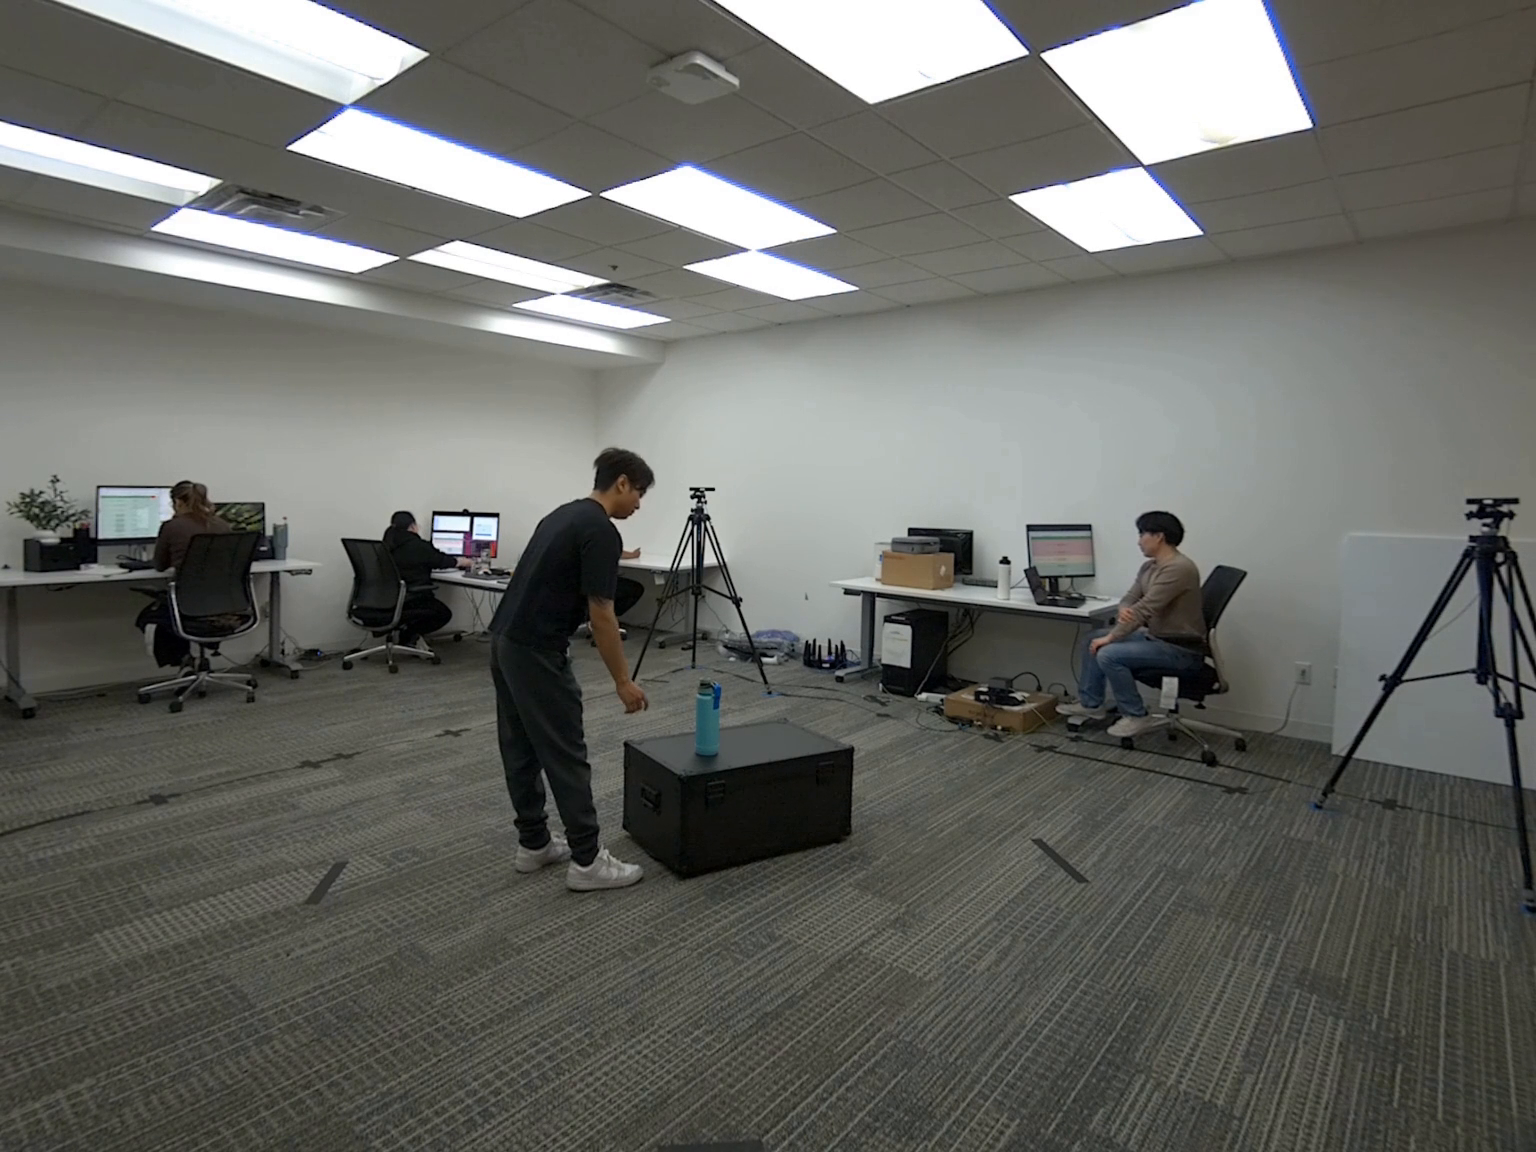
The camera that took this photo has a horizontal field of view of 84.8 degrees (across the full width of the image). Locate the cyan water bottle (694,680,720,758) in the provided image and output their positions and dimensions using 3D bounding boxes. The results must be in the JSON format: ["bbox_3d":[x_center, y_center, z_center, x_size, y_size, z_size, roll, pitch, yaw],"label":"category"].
[{"bbox_3d":[-0.239,0.535,3.268,0.092,0.282,0.093,2,4,-2],"label":"cyan water bottle"}]
